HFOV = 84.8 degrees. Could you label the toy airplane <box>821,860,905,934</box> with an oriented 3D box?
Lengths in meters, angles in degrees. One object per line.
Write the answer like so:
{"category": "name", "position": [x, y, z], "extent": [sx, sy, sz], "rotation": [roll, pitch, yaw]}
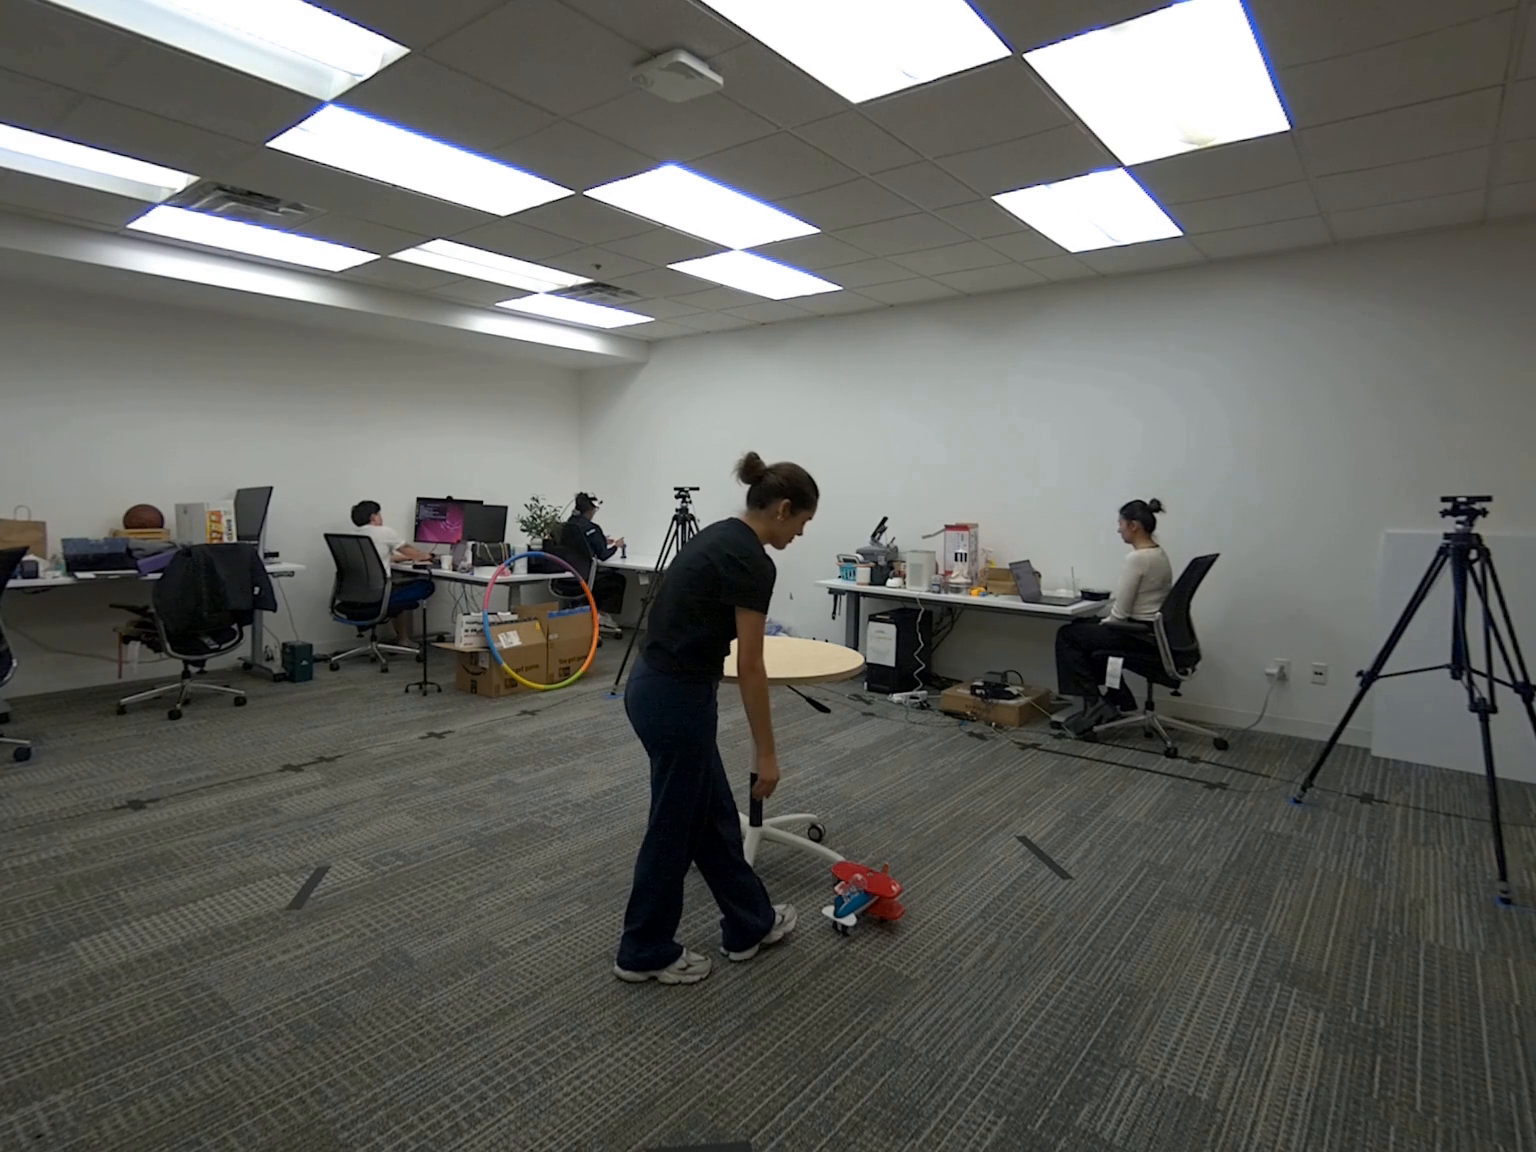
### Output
{"category": "toy airplane", "position": [0.325, 1.040, 2.734], "extent": [0.256, 0.156, 0.255], "rotation": [4, 4, 17]}
